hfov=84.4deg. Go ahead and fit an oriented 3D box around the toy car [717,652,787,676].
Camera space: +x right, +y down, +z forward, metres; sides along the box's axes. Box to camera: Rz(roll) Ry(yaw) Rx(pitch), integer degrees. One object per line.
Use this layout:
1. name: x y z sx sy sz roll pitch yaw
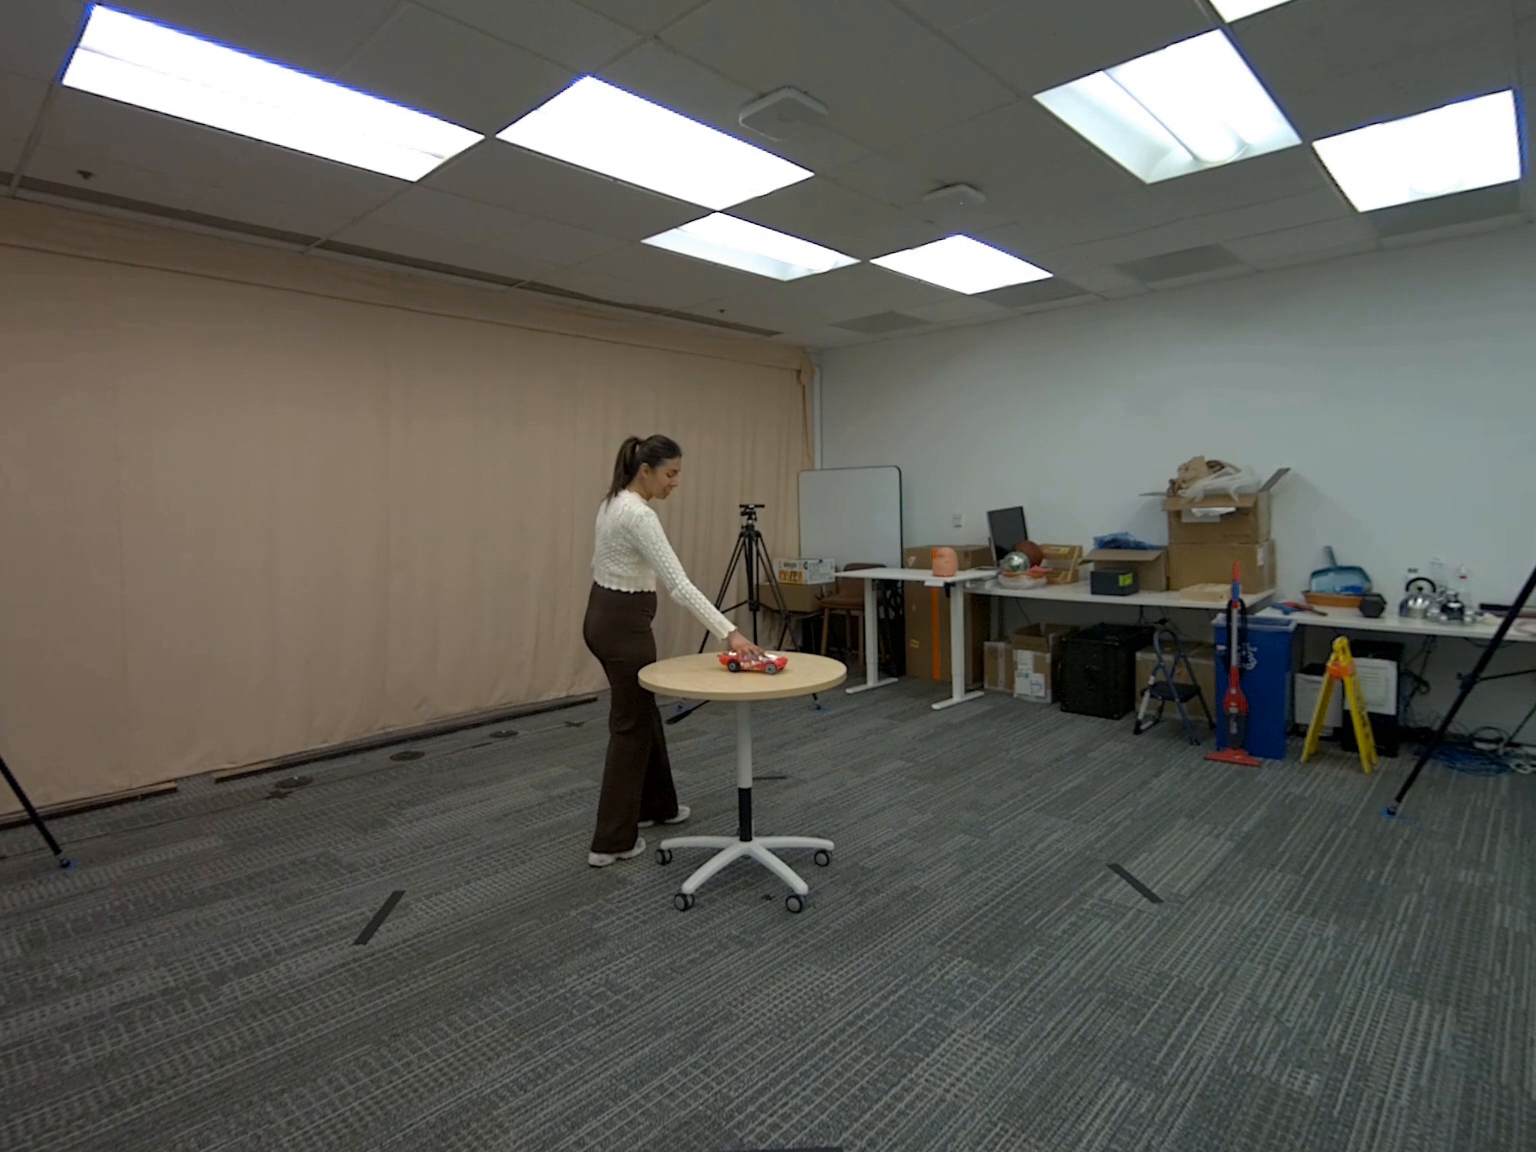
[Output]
1. toy car: -0.061 0.315 3.083 0.261 0.083 0.128 12 9 21
